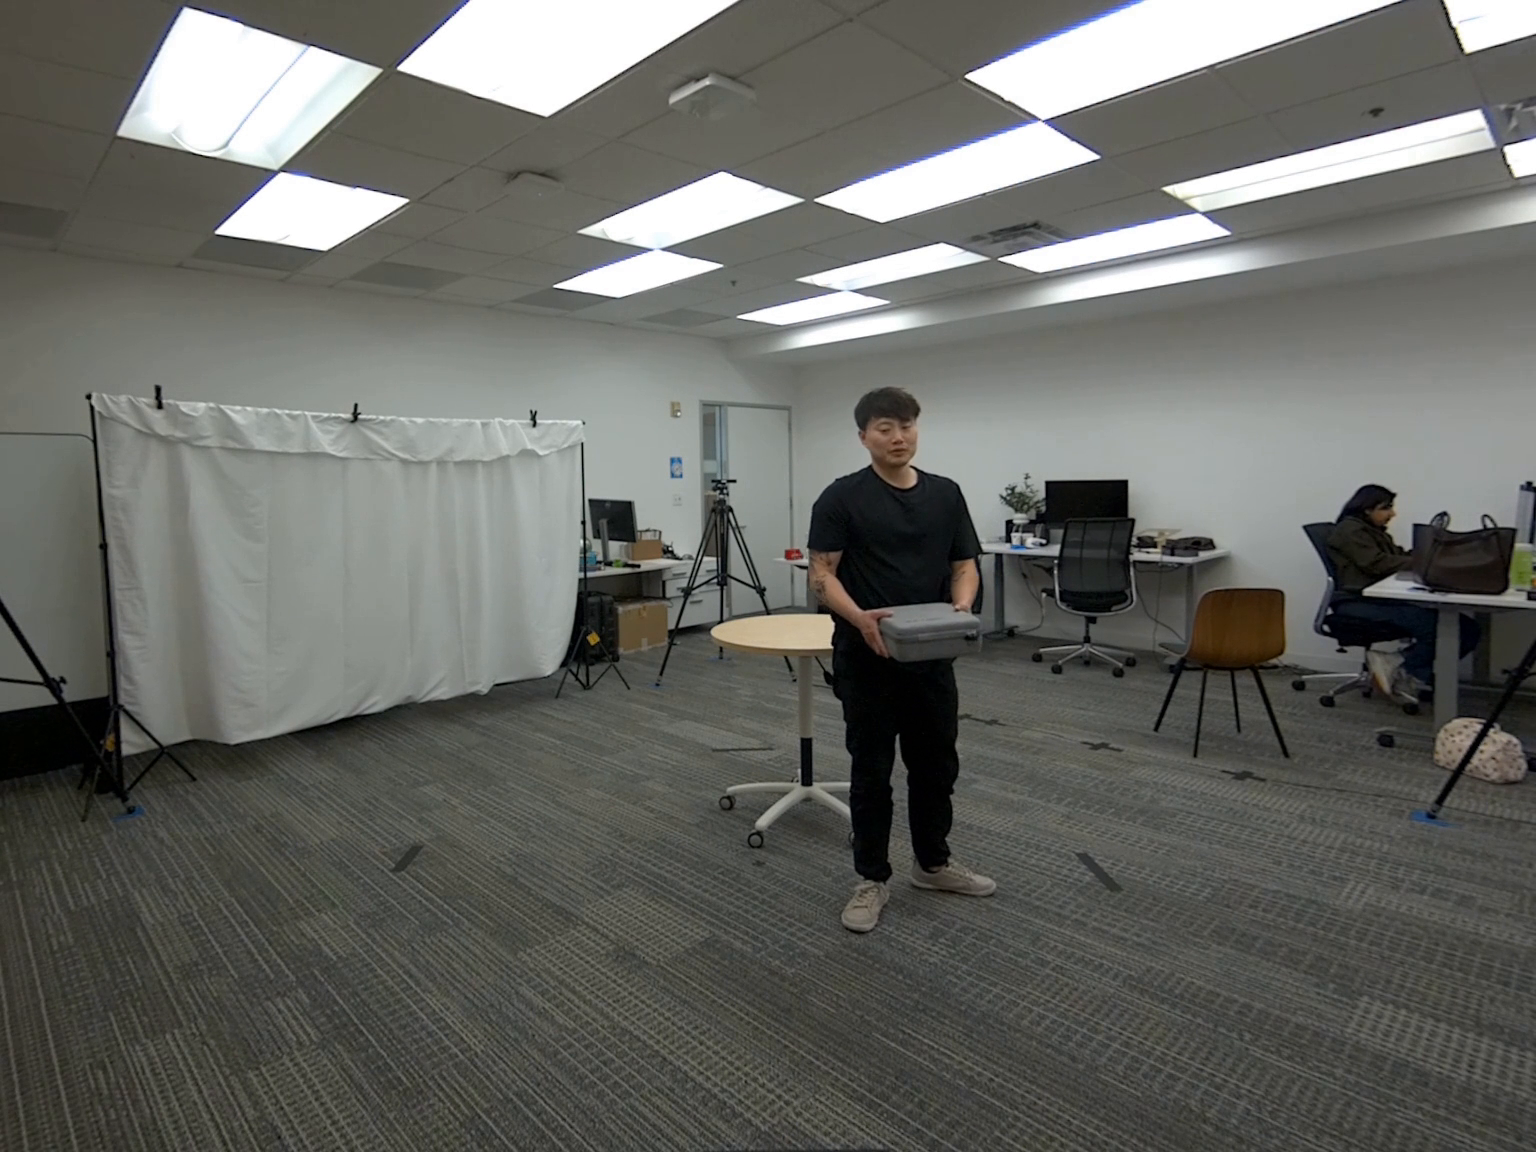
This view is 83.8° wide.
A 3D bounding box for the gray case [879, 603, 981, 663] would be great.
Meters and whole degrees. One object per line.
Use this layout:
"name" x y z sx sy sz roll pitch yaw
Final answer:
"gray case" 0.440 0.158 2.426 0.255 0.103 0.265 -5 9 -9
